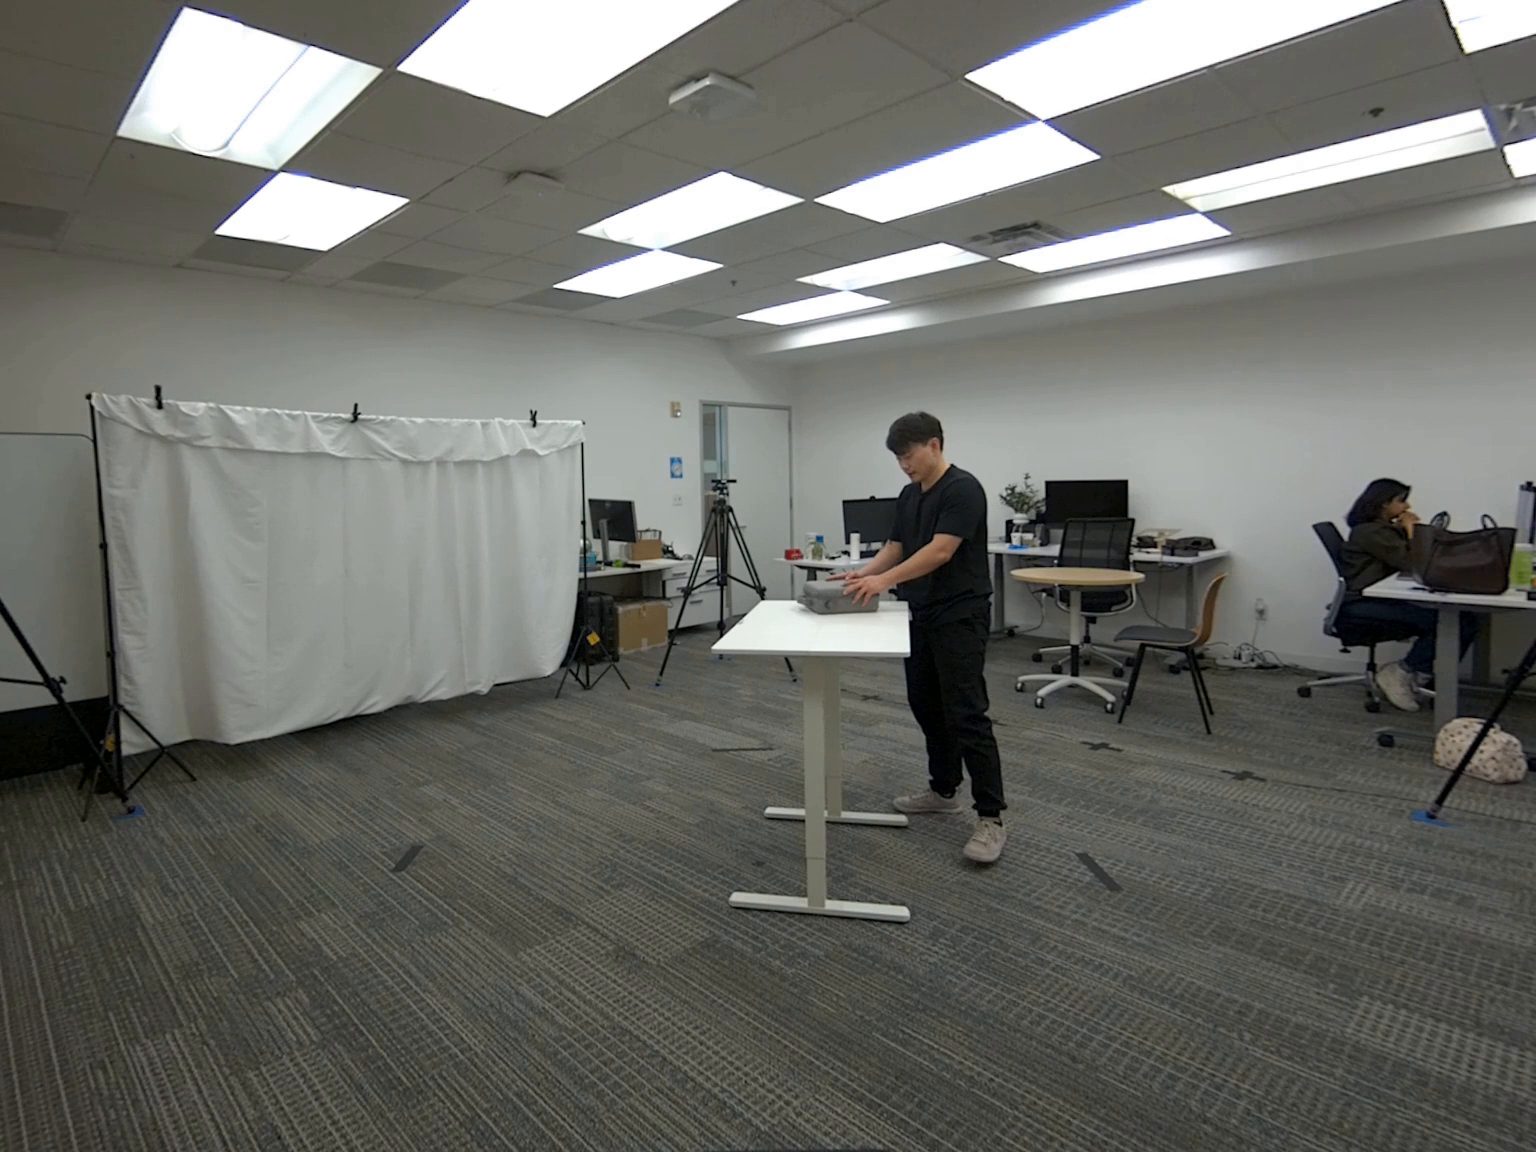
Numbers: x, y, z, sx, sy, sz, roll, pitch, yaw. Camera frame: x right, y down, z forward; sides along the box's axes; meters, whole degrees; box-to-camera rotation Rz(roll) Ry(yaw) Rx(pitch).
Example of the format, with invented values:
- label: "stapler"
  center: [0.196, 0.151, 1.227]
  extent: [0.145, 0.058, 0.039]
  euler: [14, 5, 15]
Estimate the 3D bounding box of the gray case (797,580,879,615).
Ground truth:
- label: "gray case"
  center: [0.282, 0.082, 3.332]
  extent: [0.259, 0.104, 0.260]
  euler: [-1, 7, -7]
